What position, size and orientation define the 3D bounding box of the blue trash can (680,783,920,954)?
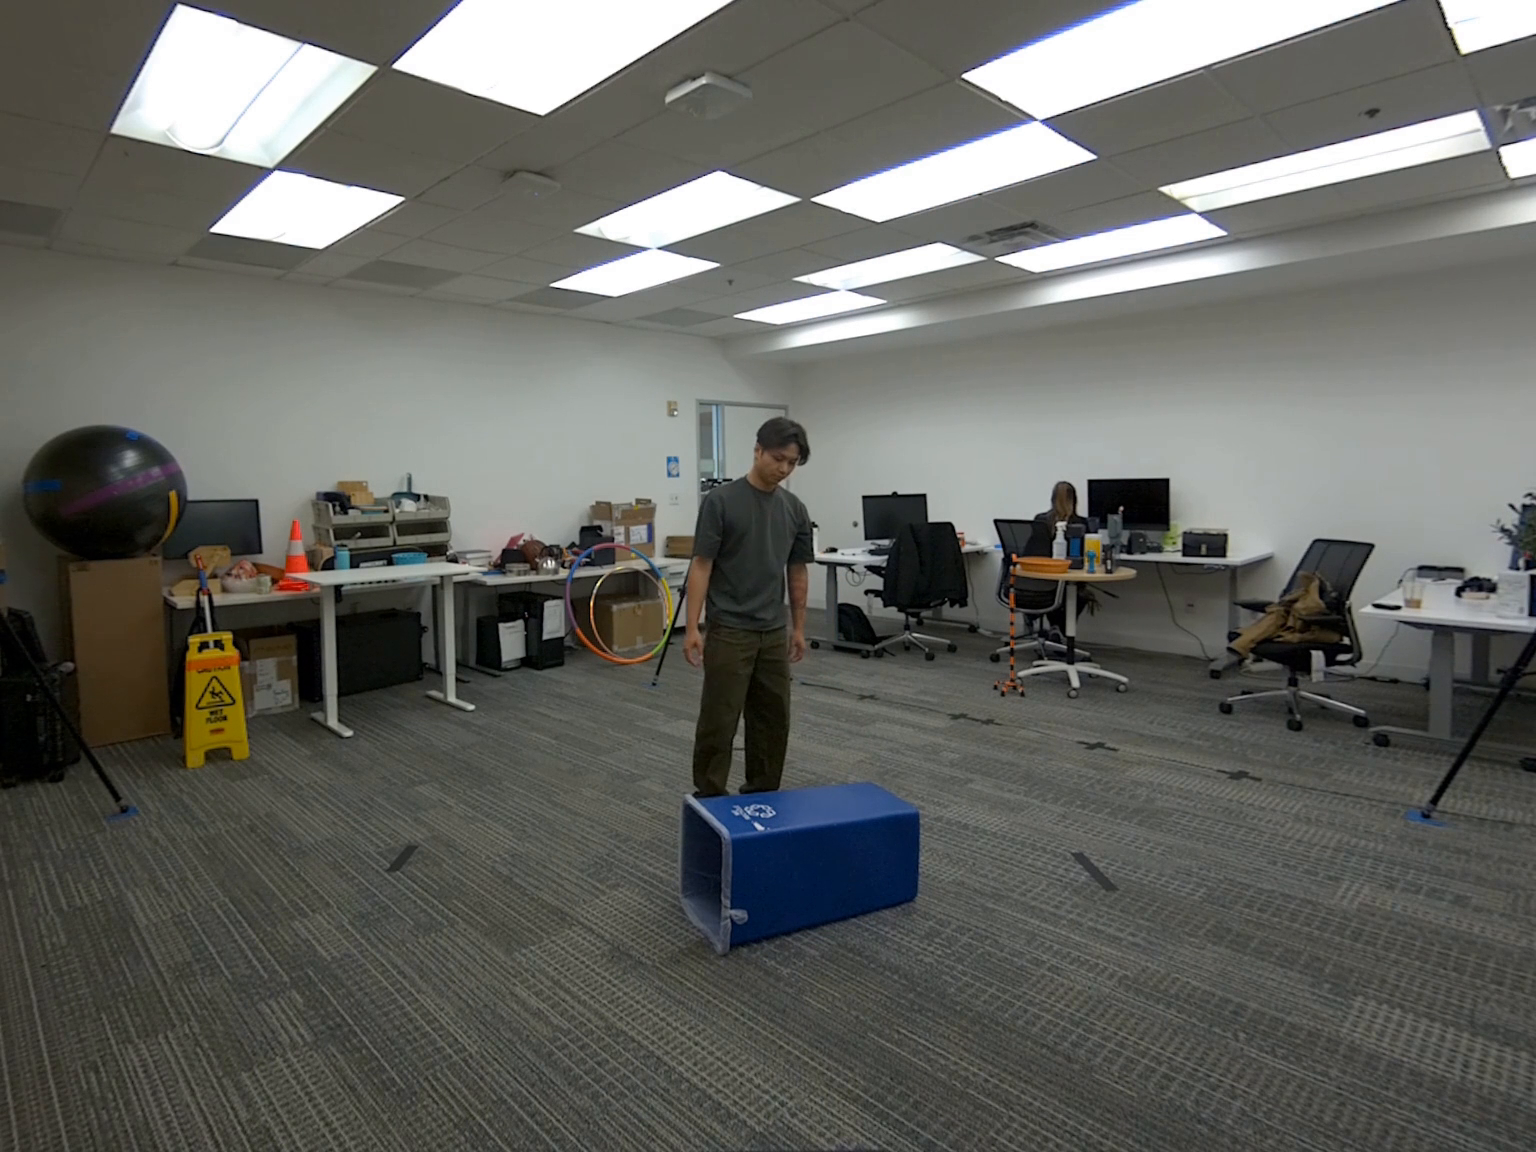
[{"bbox_3d":[0.113,0.916,2.792,0.698,0.373,0.387,-1,4,-24],"label":"blue trash can"}]
